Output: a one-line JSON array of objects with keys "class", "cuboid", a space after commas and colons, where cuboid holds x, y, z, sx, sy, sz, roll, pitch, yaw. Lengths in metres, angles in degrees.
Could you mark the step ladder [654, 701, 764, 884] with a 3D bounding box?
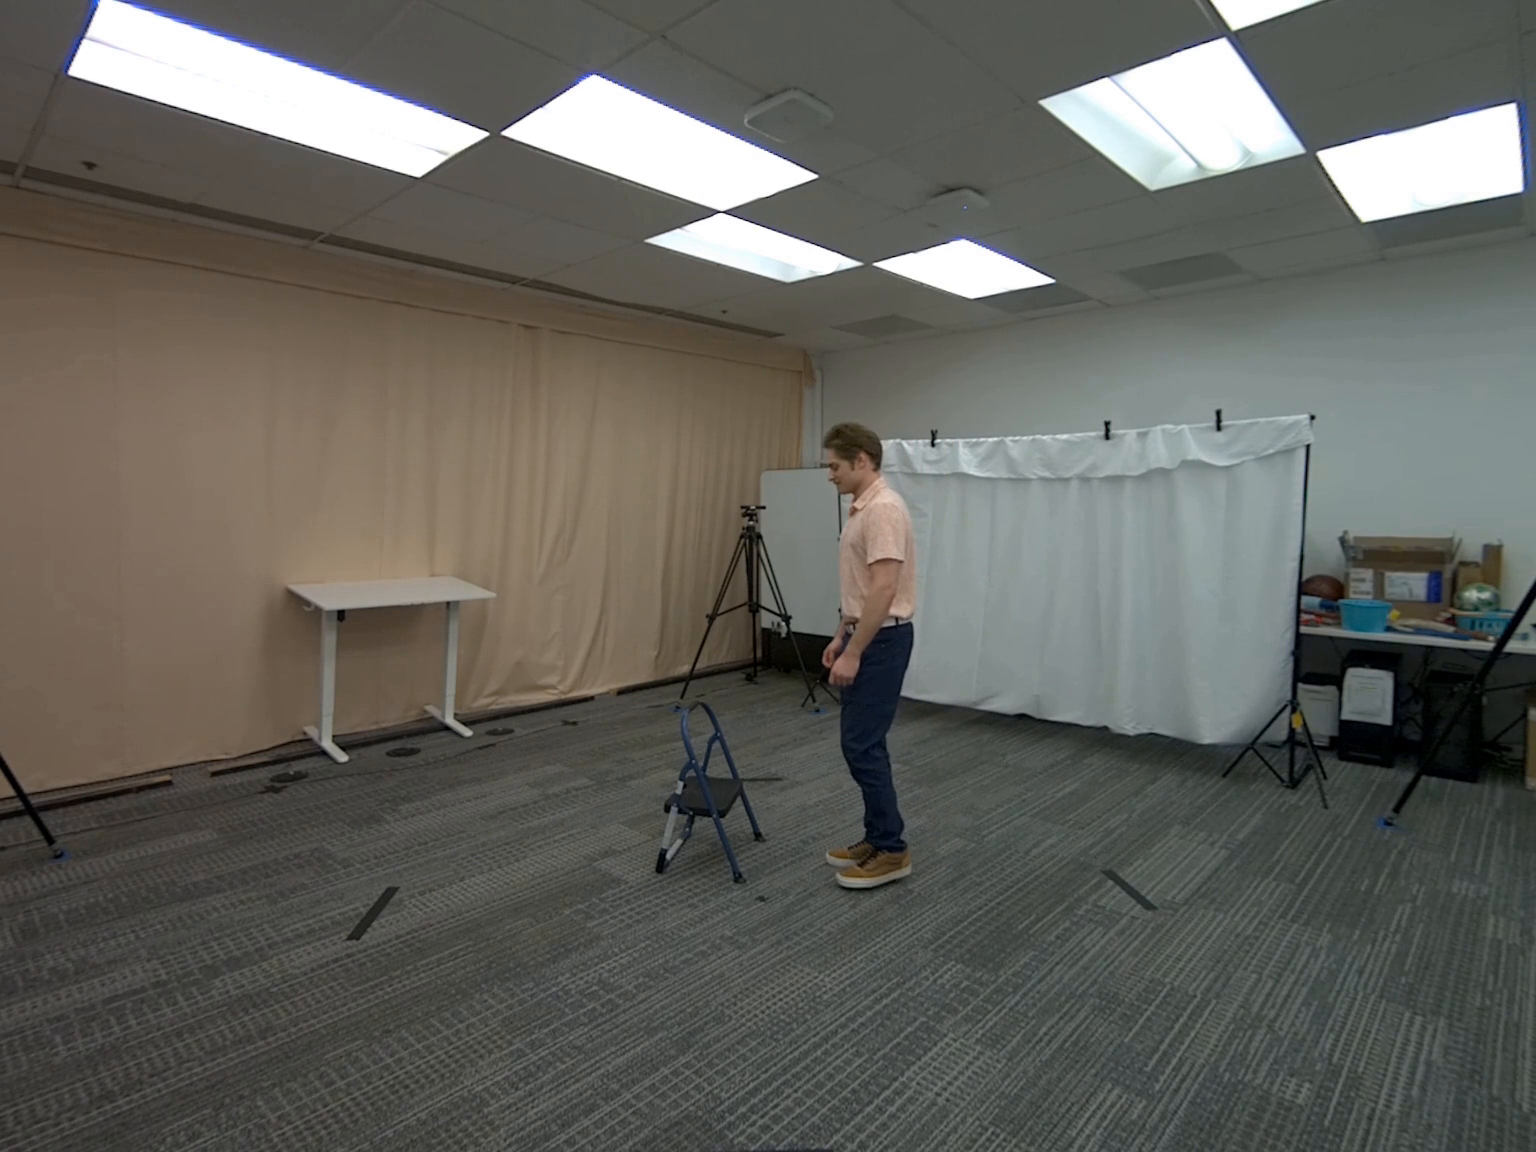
[{"class": "step ladder", "cuboid": [-0.231, 0.813, 3.341, 0.354, 0.605, 0.425, 0, 3, 12]}]
